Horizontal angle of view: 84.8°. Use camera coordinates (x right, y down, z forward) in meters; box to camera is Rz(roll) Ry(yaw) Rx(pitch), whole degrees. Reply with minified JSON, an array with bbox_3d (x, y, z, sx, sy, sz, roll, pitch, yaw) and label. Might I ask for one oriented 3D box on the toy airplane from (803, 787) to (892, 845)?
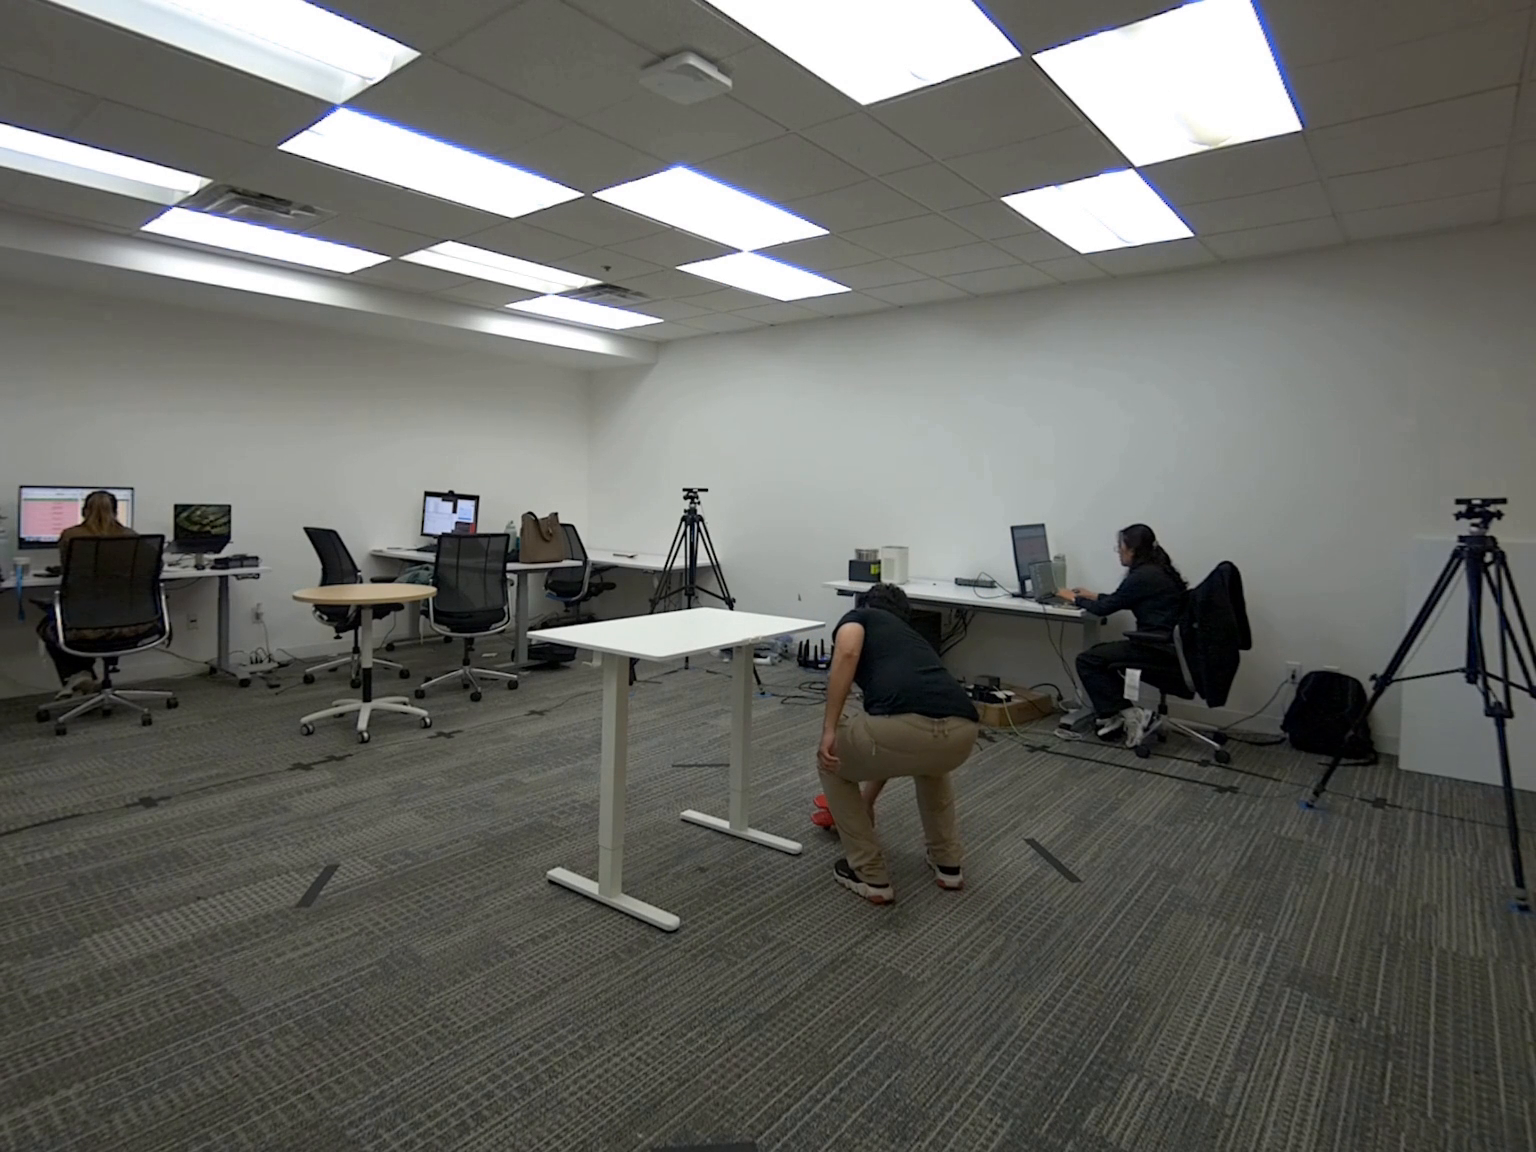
[{"bbox_3d":[0.323,0.972,3.448,0.268,0.156,0.243,4,5,39],"label":"toy airplane"}]
